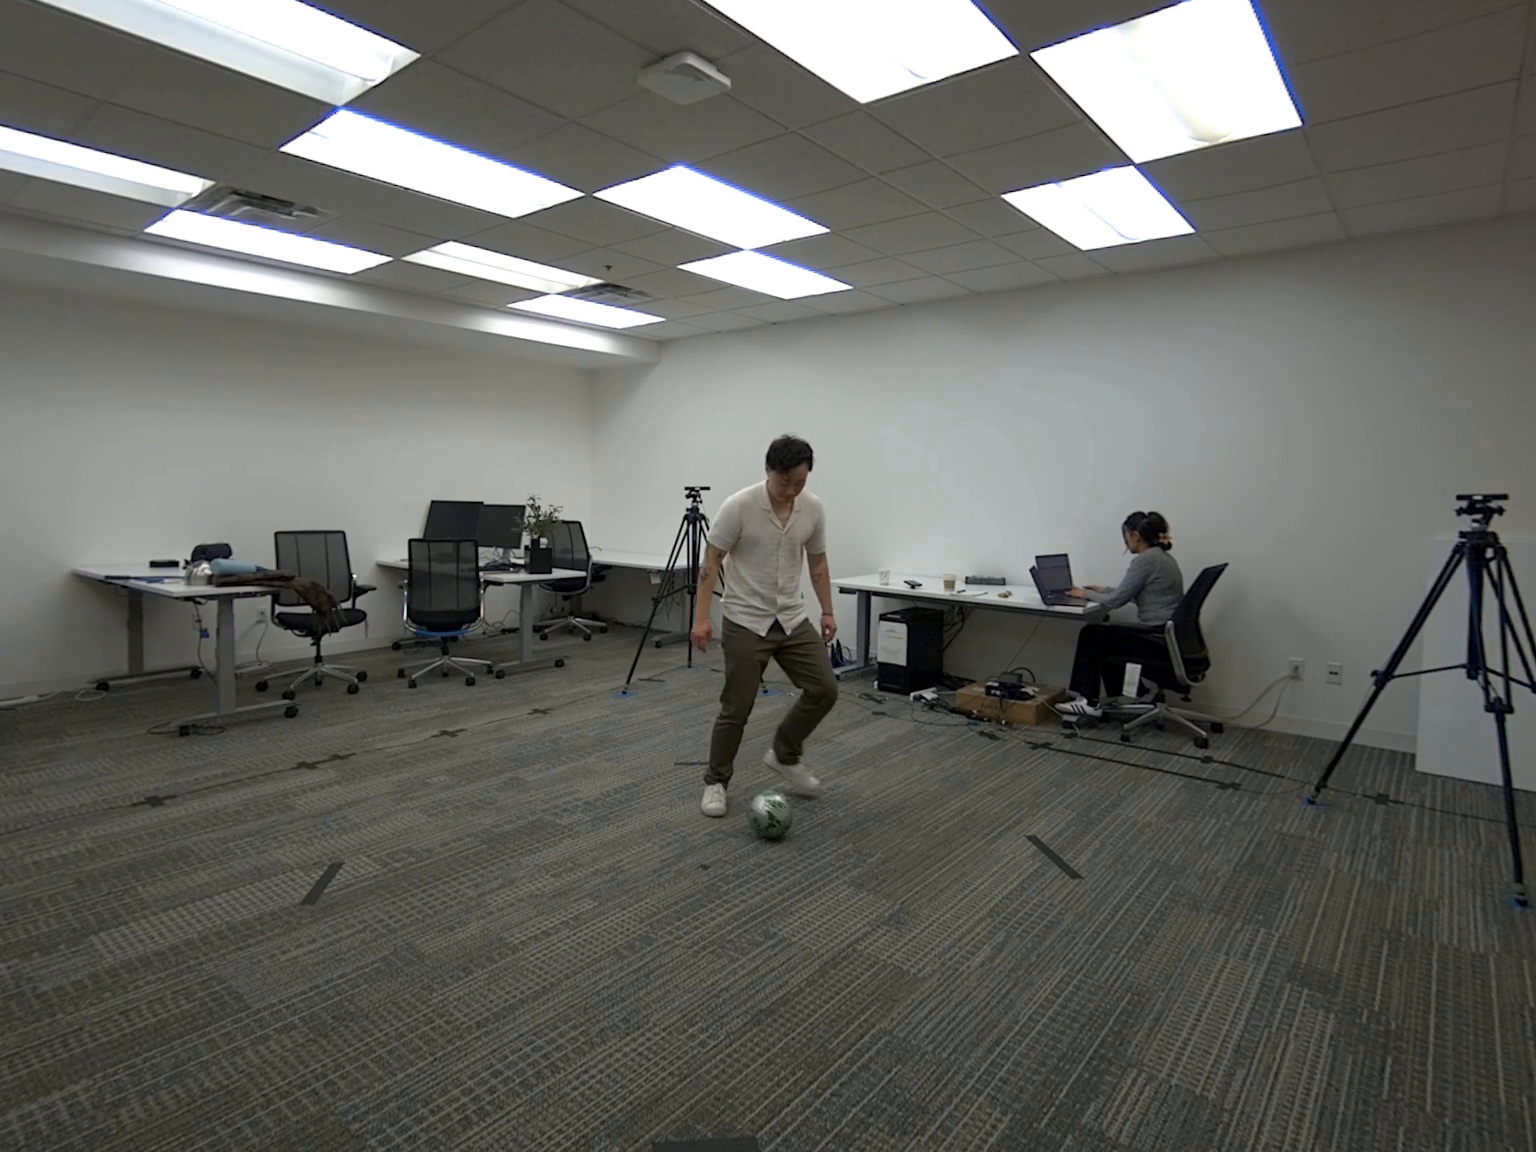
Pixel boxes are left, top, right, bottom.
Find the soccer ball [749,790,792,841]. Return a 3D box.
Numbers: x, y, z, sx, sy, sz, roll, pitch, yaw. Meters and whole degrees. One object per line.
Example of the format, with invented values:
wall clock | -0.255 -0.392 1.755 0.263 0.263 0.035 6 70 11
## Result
soccer ball | -0.003 0.946 3.391 0.187 0.187 0.188 0 4 -2
